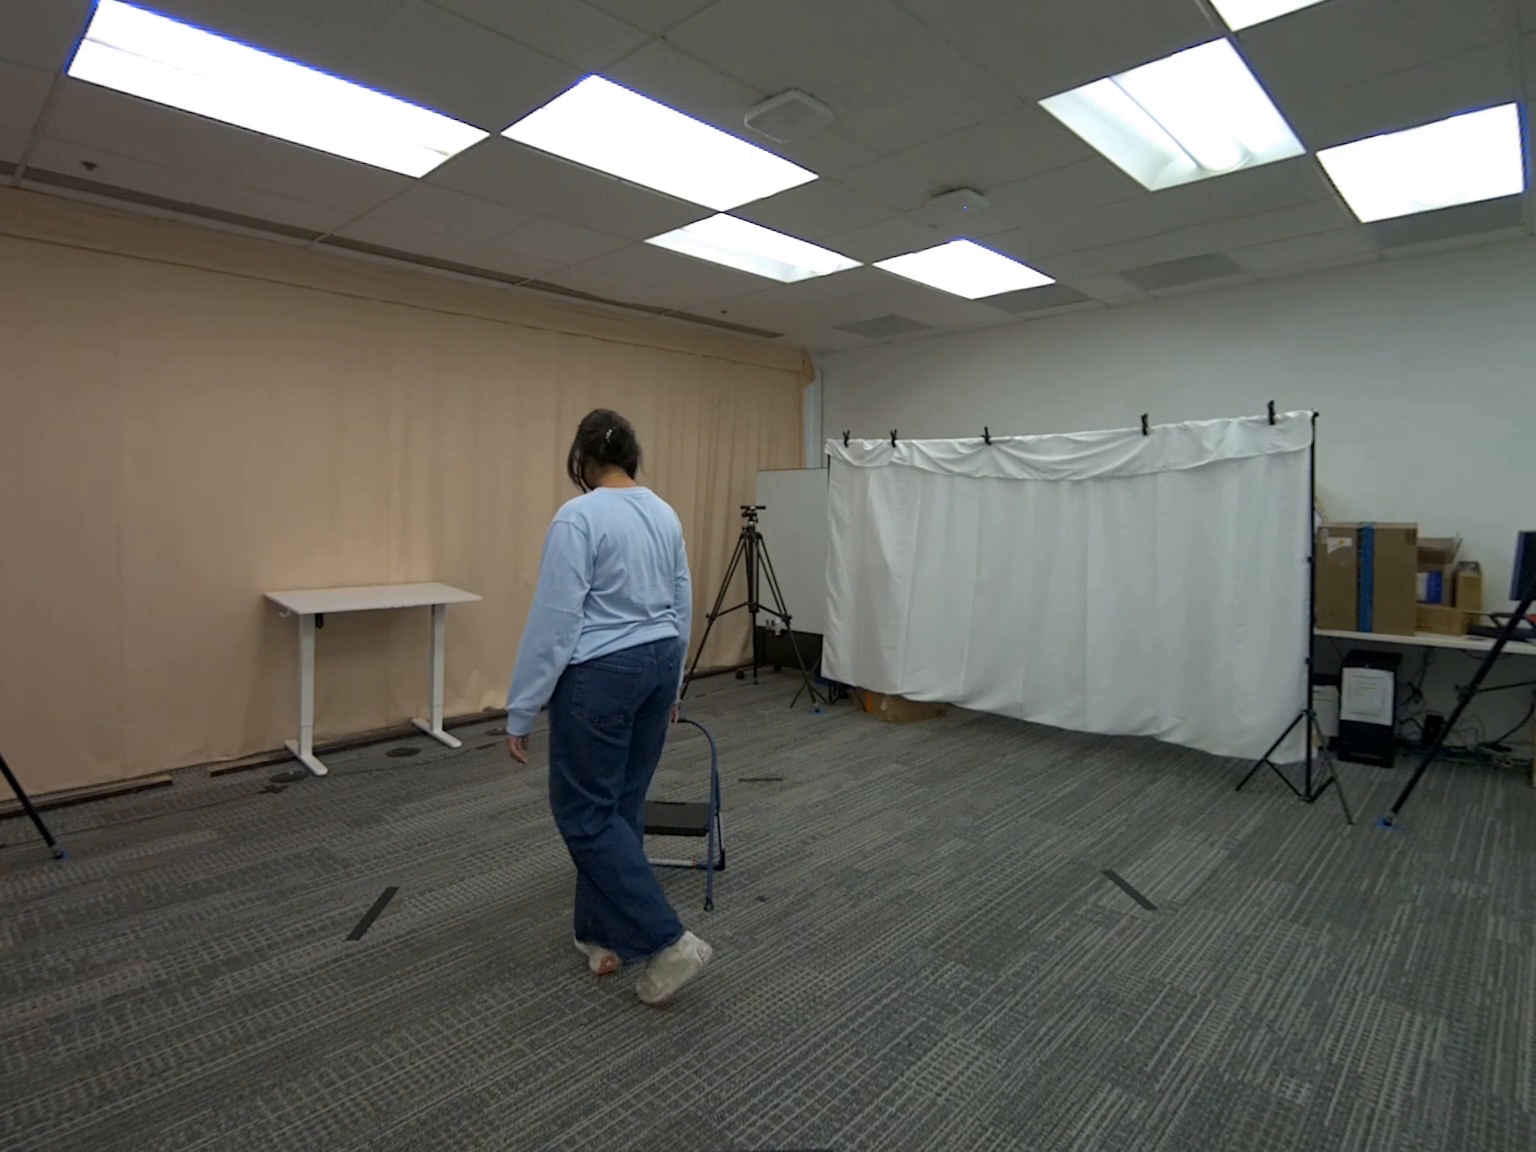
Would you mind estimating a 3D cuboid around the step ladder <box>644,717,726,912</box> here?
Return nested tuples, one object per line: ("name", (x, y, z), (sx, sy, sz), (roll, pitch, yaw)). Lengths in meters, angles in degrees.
("step ladder", (-0.386, 0.836, 3.090), (0.435, 0.605, 0.346), (0, 3, 8))
